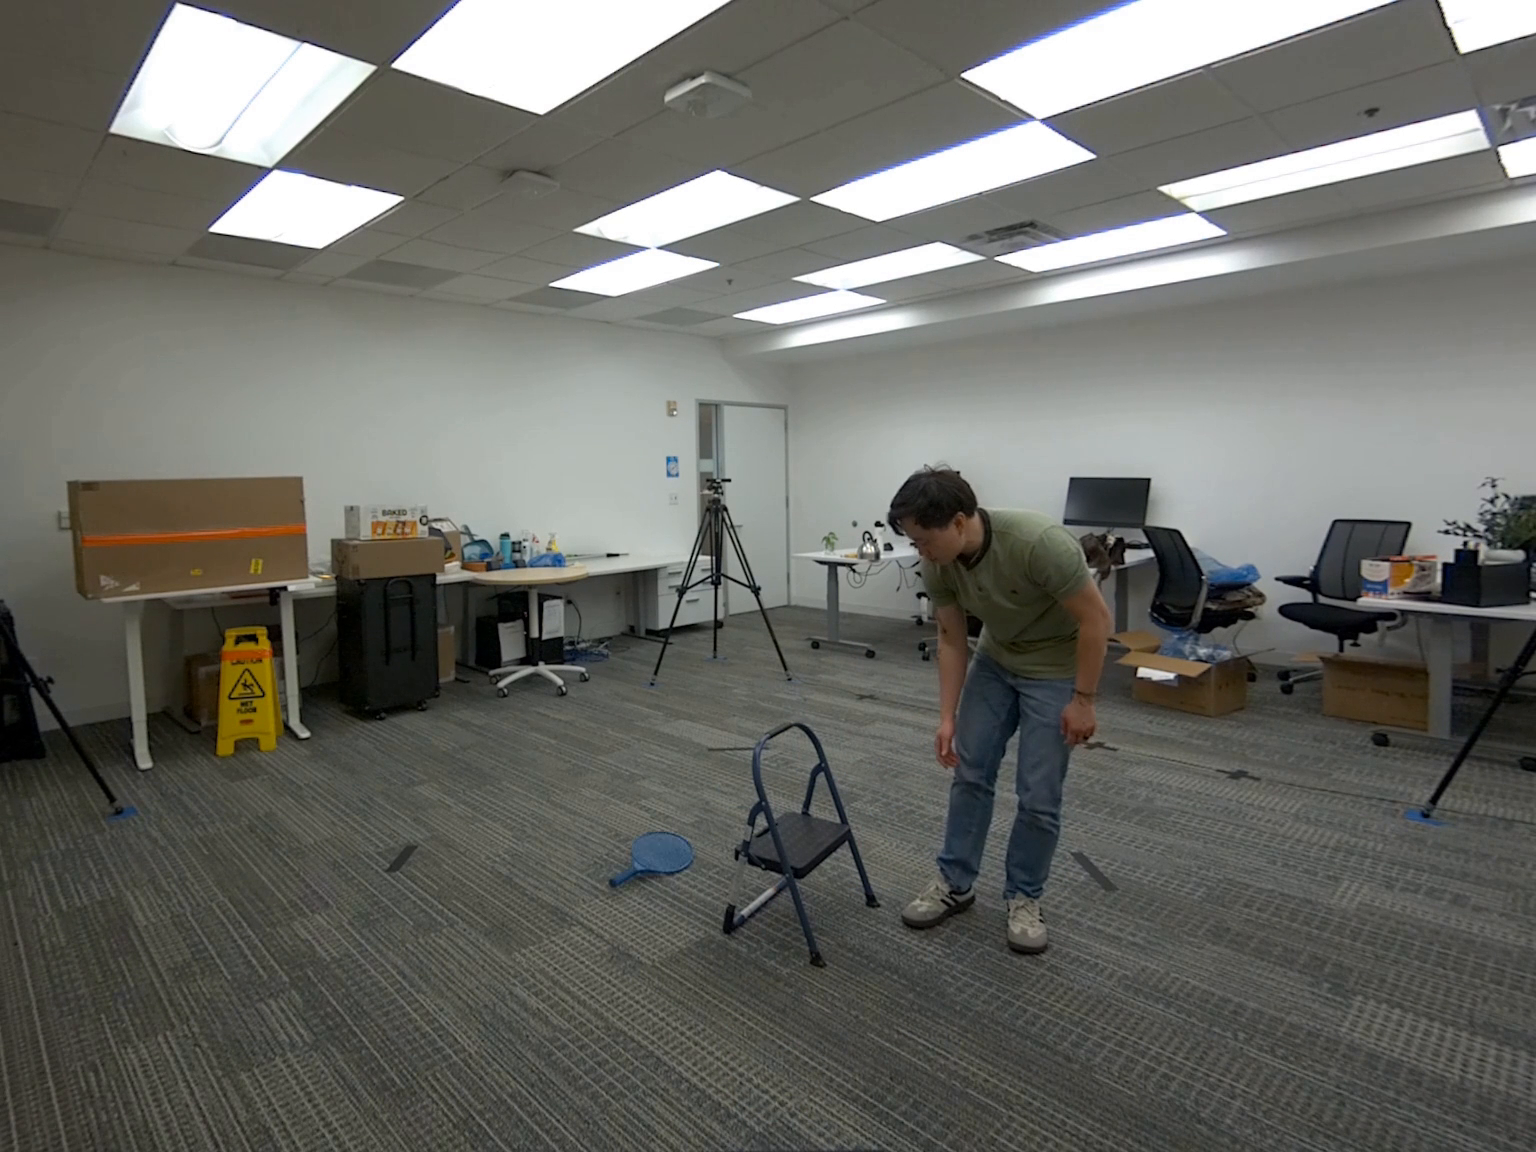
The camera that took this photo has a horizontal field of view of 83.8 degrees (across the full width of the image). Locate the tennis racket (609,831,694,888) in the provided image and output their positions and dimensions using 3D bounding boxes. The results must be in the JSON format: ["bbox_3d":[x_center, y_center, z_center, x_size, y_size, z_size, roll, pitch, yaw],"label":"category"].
[{"bbox_3d":[-0.409,1.014,3.048,0.220,0.031,0.424,20,15,25],"label":"tennis racket"}]
